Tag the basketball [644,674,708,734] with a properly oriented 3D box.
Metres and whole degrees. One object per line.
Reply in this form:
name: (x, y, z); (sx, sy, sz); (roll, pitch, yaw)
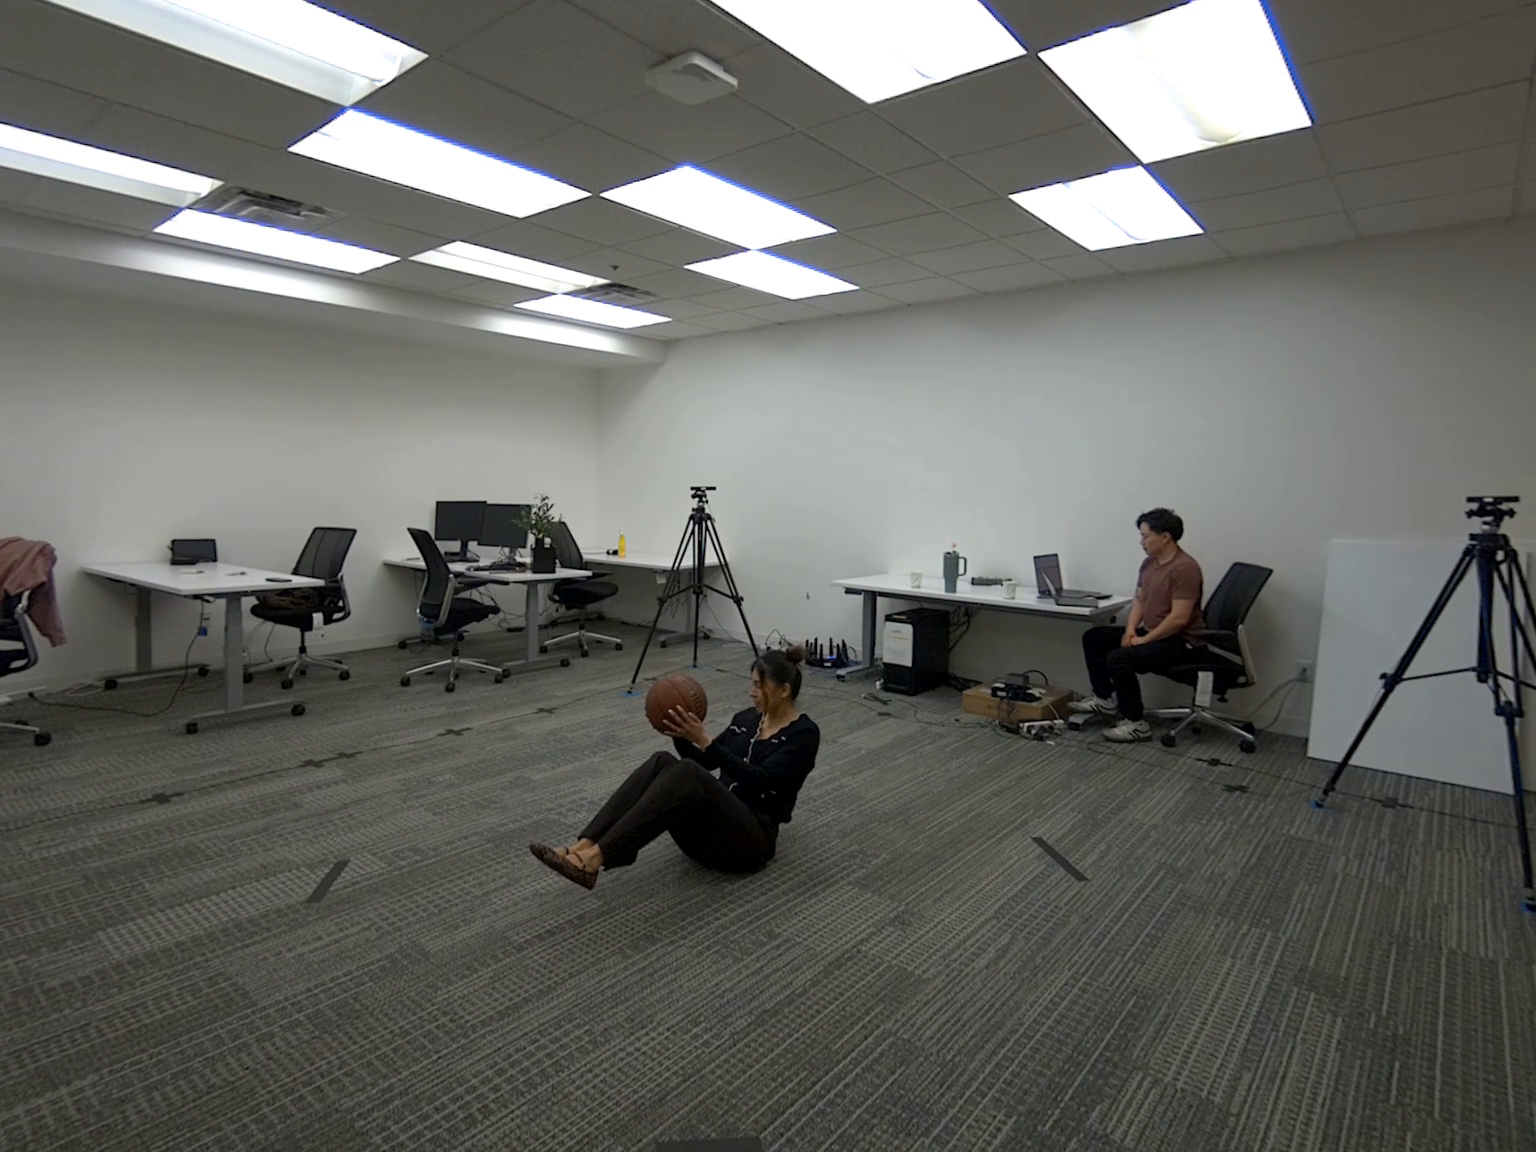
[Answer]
basketball: (-0.346, 0.501, 3.219); (0.235, 0.235, 0.237); (1, 4, -2)
